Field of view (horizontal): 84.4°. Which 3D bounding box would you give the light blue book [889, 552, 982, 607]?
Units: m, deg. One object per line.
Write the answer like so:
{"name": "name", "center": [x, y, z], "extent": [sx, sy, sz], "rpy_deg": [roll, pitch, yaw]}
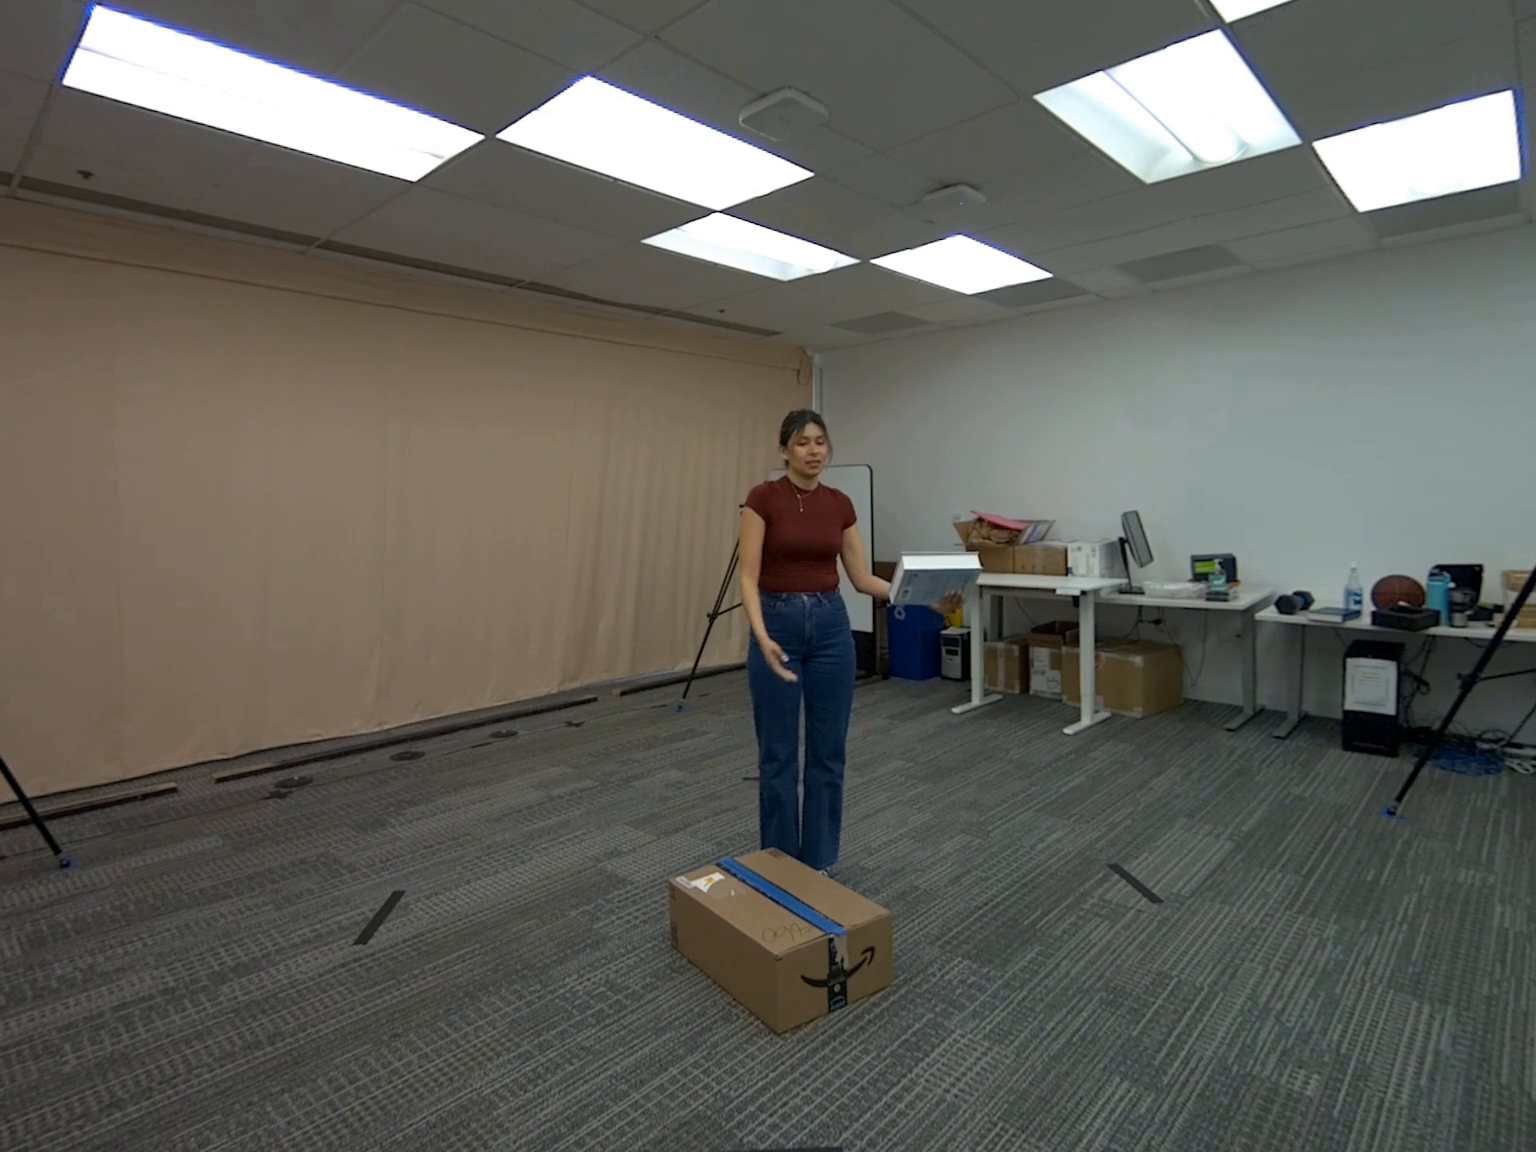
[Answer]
{"name": "light blue book", "center": [0.557, 0.014, 2.785], "extent": [0.259, 0.188, 0.060], "rpy_deg": [0, 46, -6]}
